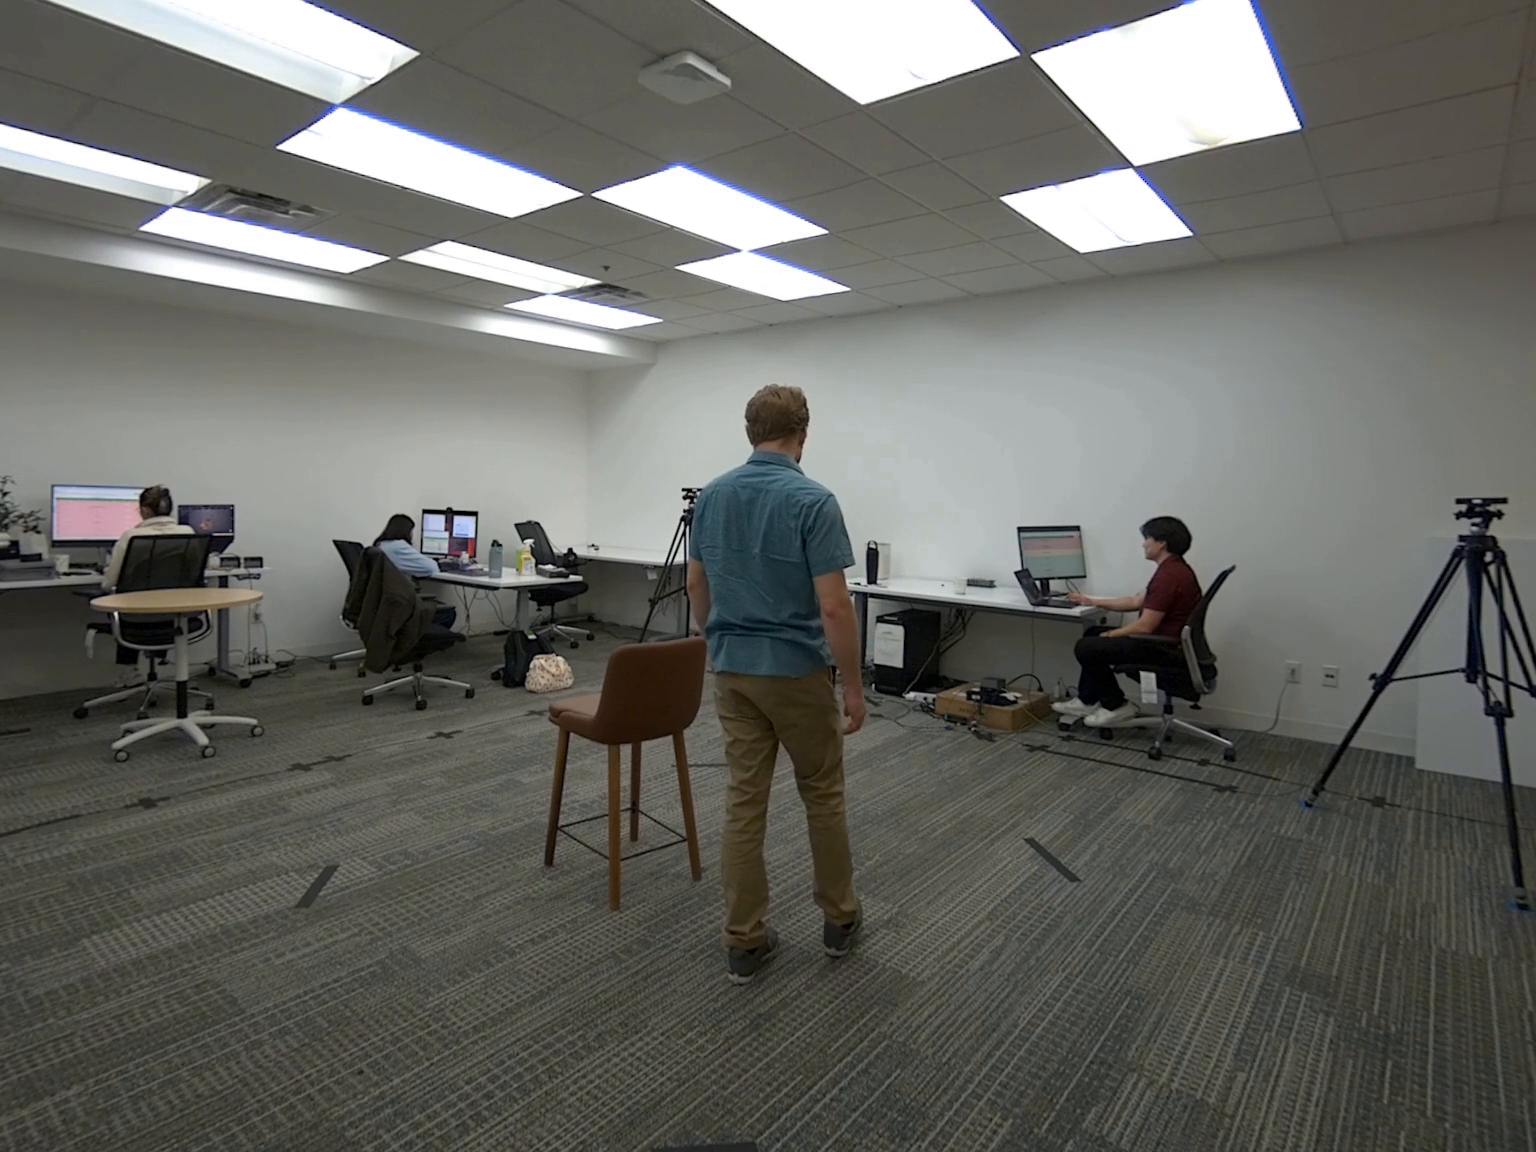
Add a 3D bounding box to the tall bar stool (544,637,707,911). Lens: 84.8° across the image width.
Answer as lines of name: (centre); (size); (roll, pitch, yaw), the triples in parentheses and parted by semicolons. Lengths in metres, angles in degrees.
tall bar stool: (-0.521, 0.636, 3.054); (0.442, 0.886, 0.484); (-1, 6, -42)
